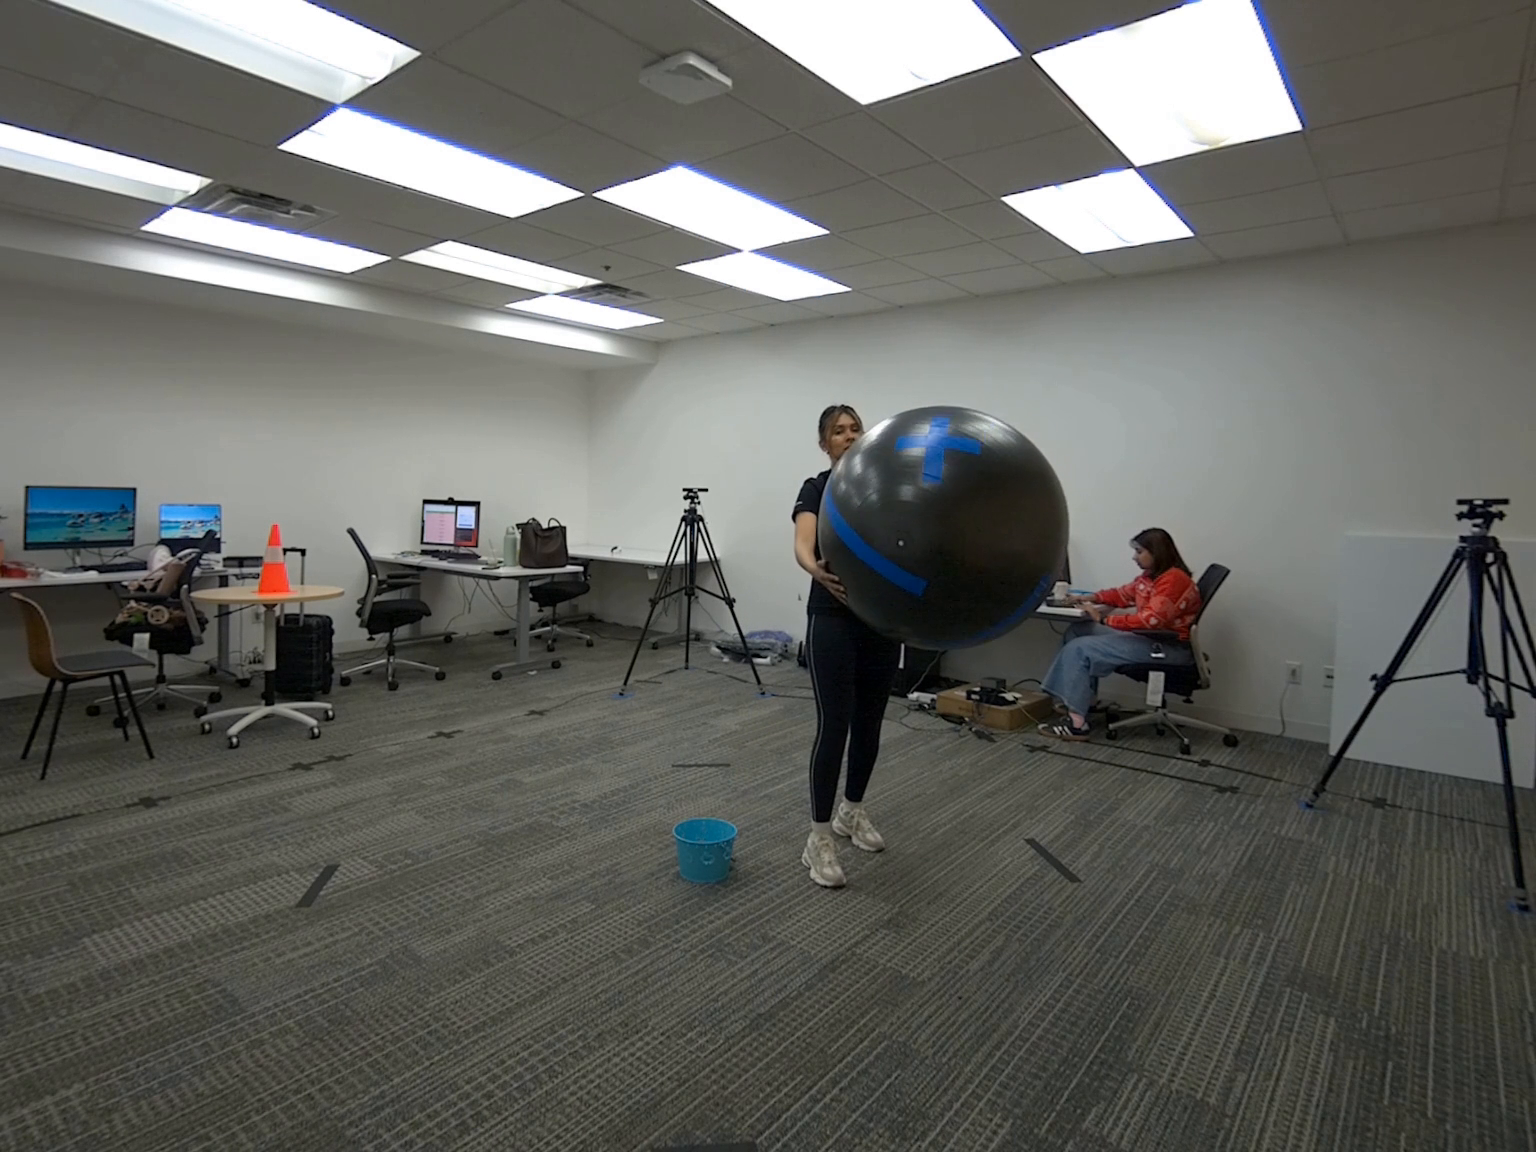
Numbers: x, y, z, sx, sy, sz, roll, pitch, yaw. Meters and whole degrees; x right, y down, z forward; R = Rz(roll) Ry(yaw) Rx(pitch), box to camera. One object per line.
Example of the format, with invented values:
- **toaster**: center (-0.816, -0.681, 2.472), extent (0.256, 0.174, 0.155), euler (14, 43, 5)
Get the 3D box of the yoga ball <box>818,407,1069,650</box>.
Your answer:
- **yoga ball**: center (0.532, -0.155, 2.661), extent (0.757, 0.756, 0.761), euler (1, 4, -2)
